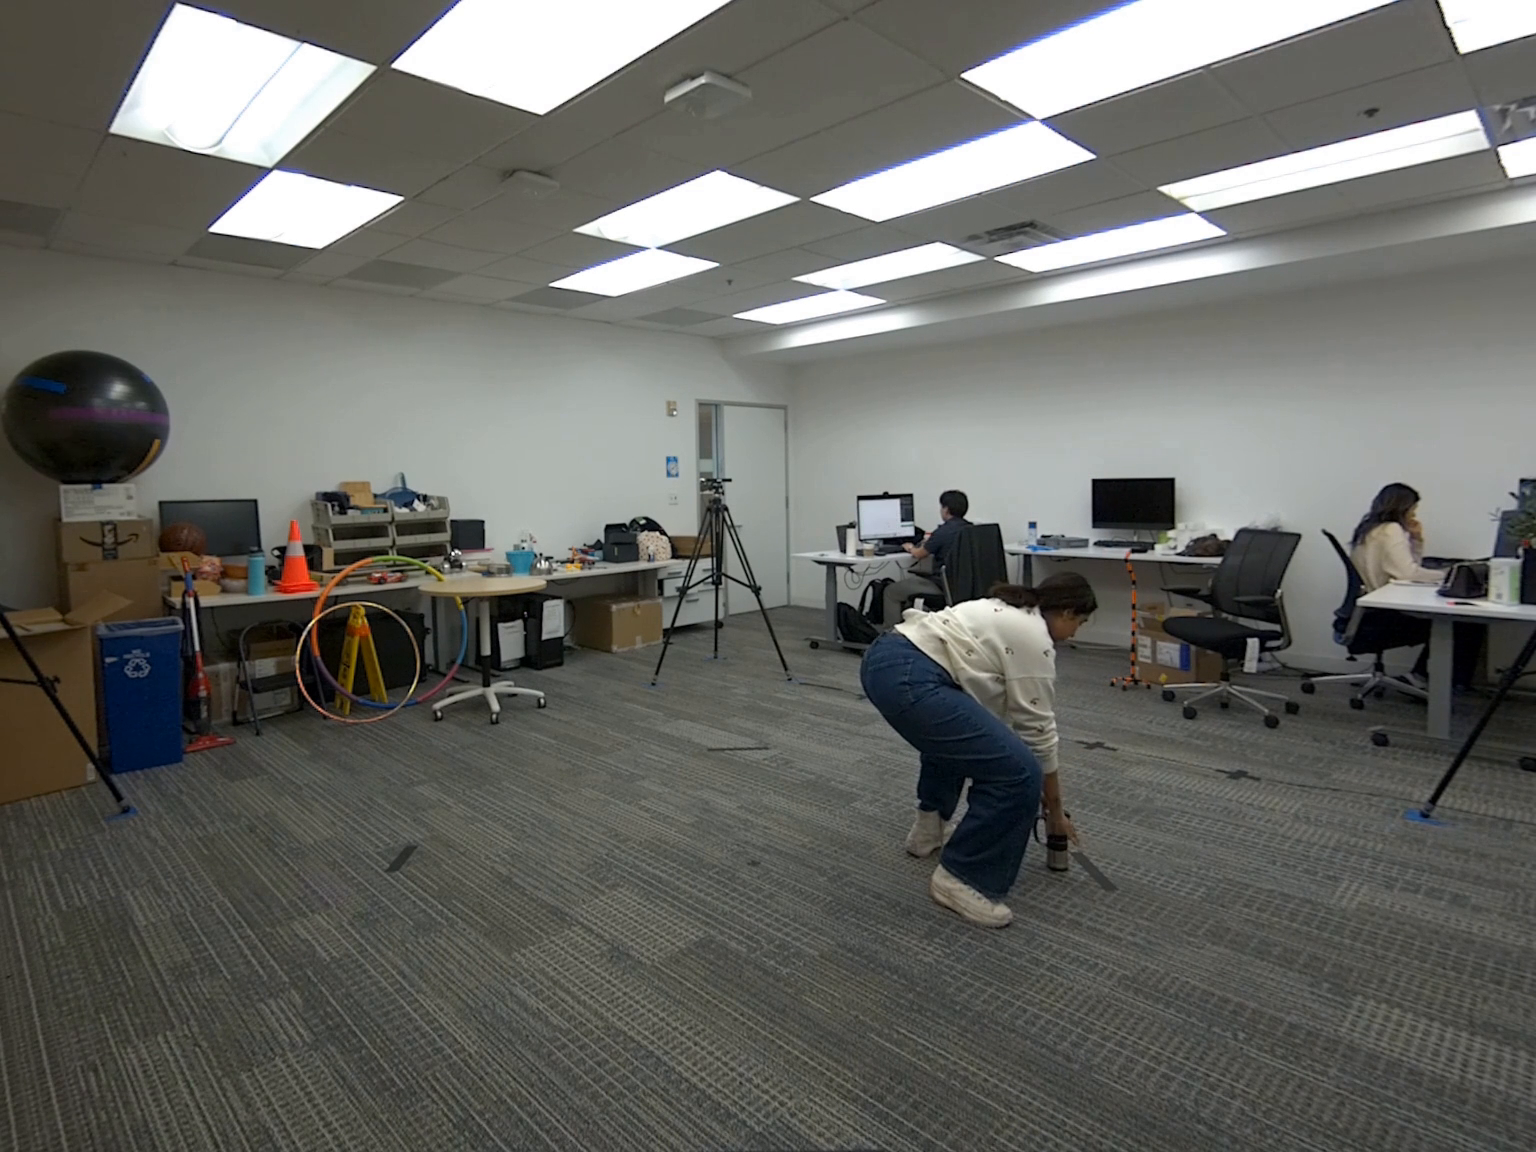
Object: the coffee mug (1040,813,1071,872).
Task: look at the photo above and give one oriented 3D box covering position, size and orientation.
[{"bbox_3d":[1.040,0.939,3.008,0.125,0.202,0.085,1,3,42],"label":"coffee mug"}]
